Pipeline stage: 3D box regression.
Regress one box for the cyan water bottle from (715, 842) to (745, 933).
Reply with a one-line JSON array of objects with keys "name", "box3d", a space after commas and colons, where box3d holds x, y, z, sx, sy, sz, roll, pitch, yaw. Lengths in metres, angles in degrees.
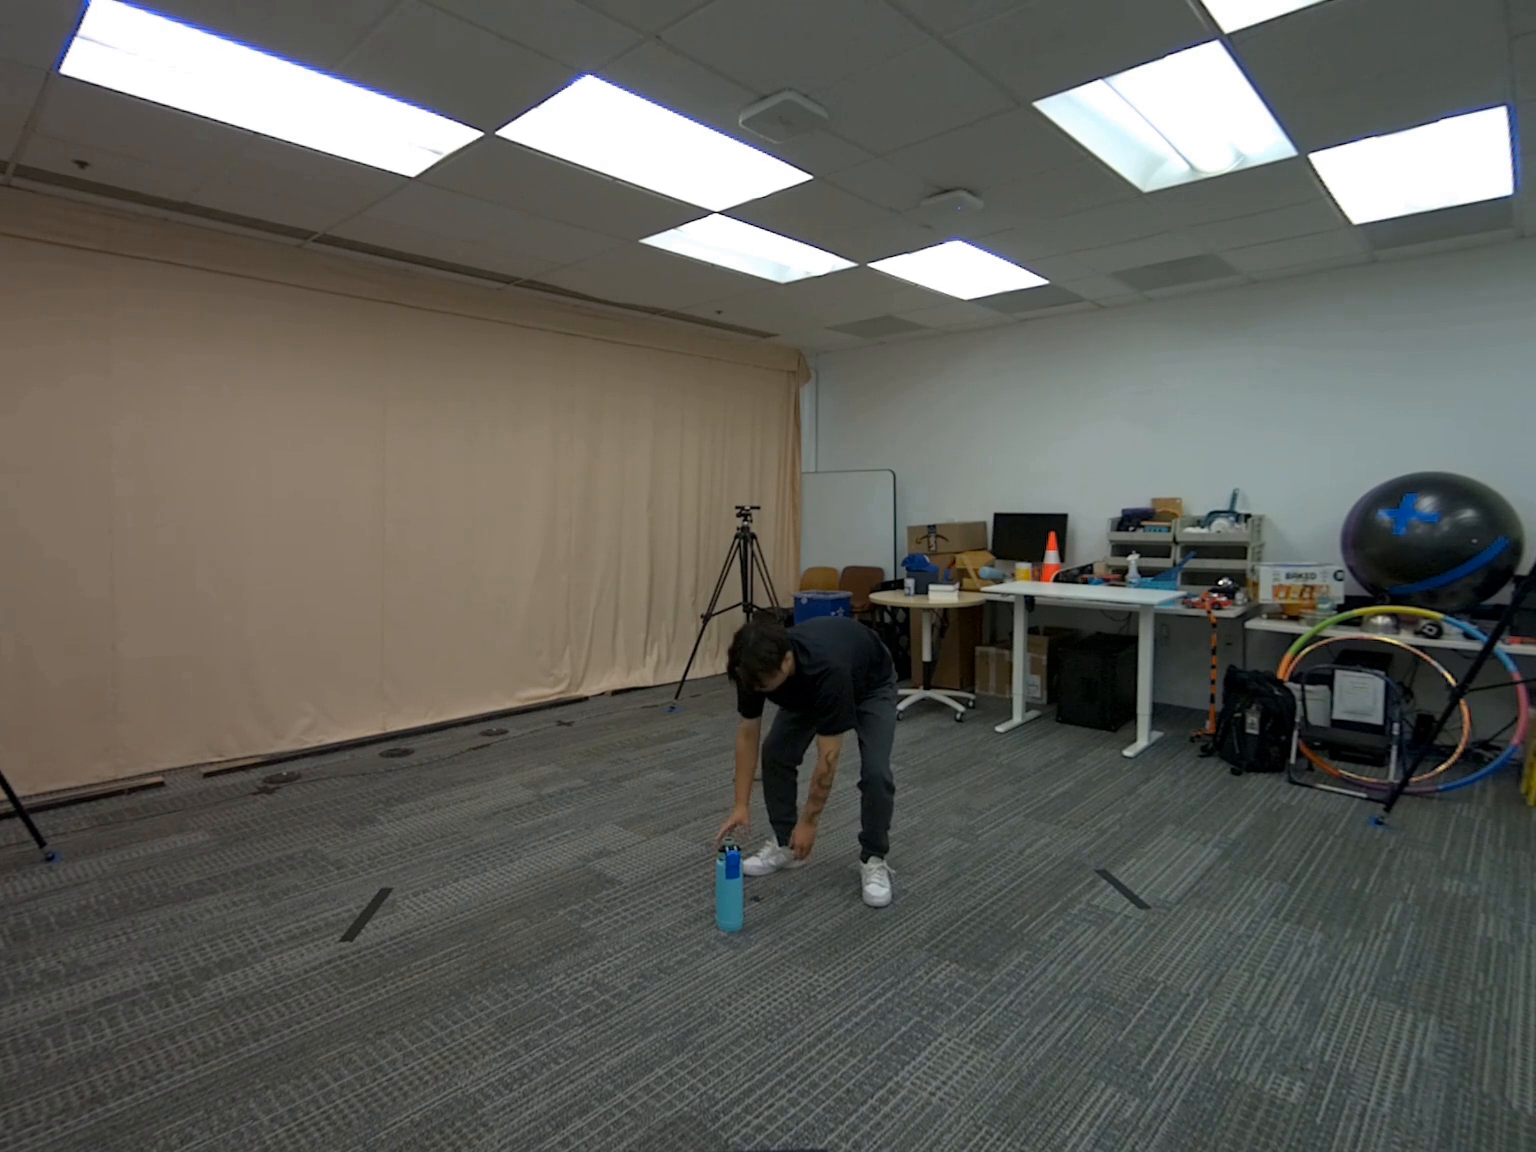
[{"name": "cyan water bottle", "box3d": [-0.126, 1.025, 2.781, 0.092, 0.282, 0.093, 0, 6, -2]}]
